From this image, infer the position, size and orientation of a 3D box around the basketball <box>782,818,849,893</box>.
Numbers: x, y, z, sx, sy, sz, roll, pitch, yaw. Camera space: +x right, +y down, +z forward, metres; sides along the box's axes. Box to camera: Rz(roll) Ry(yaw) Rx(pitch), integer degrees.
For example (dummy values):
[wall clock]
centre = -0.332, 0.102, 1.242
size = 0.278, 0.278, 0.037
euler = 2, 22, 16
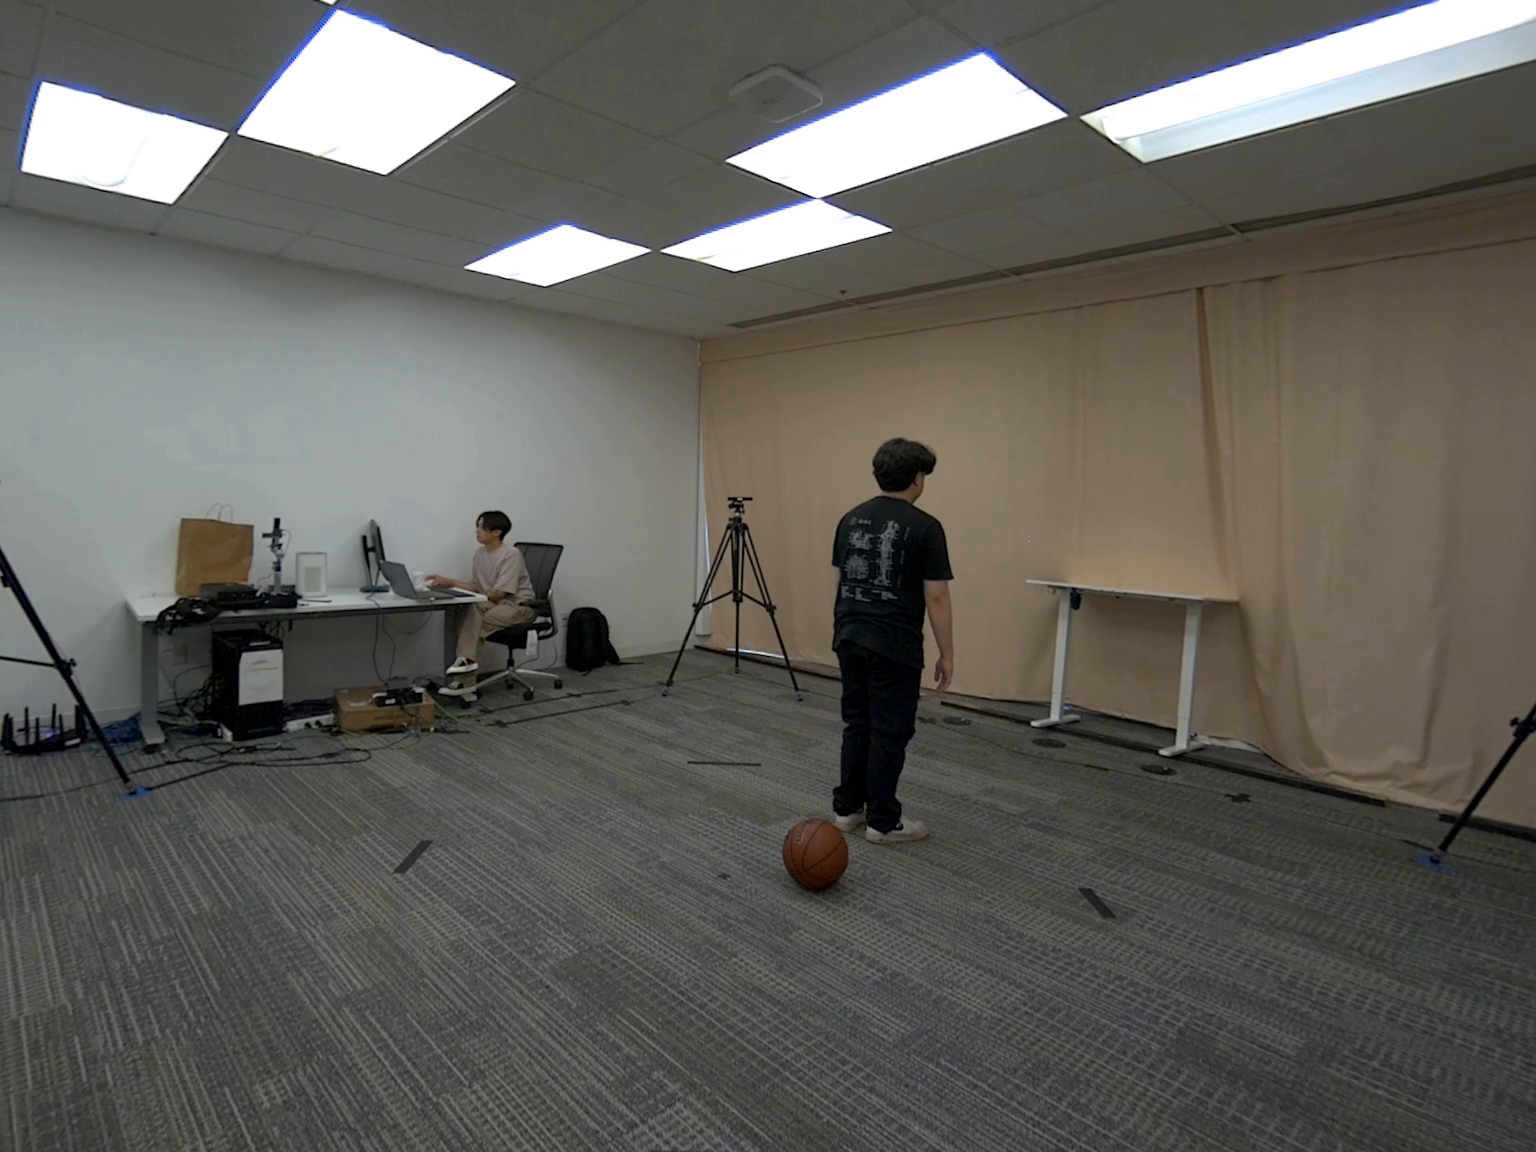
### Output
[basketball]
centre = 0.163, 1.001, 3.031
size = 0.236, 0.235, 0.237
euler = 1, 4, -1
